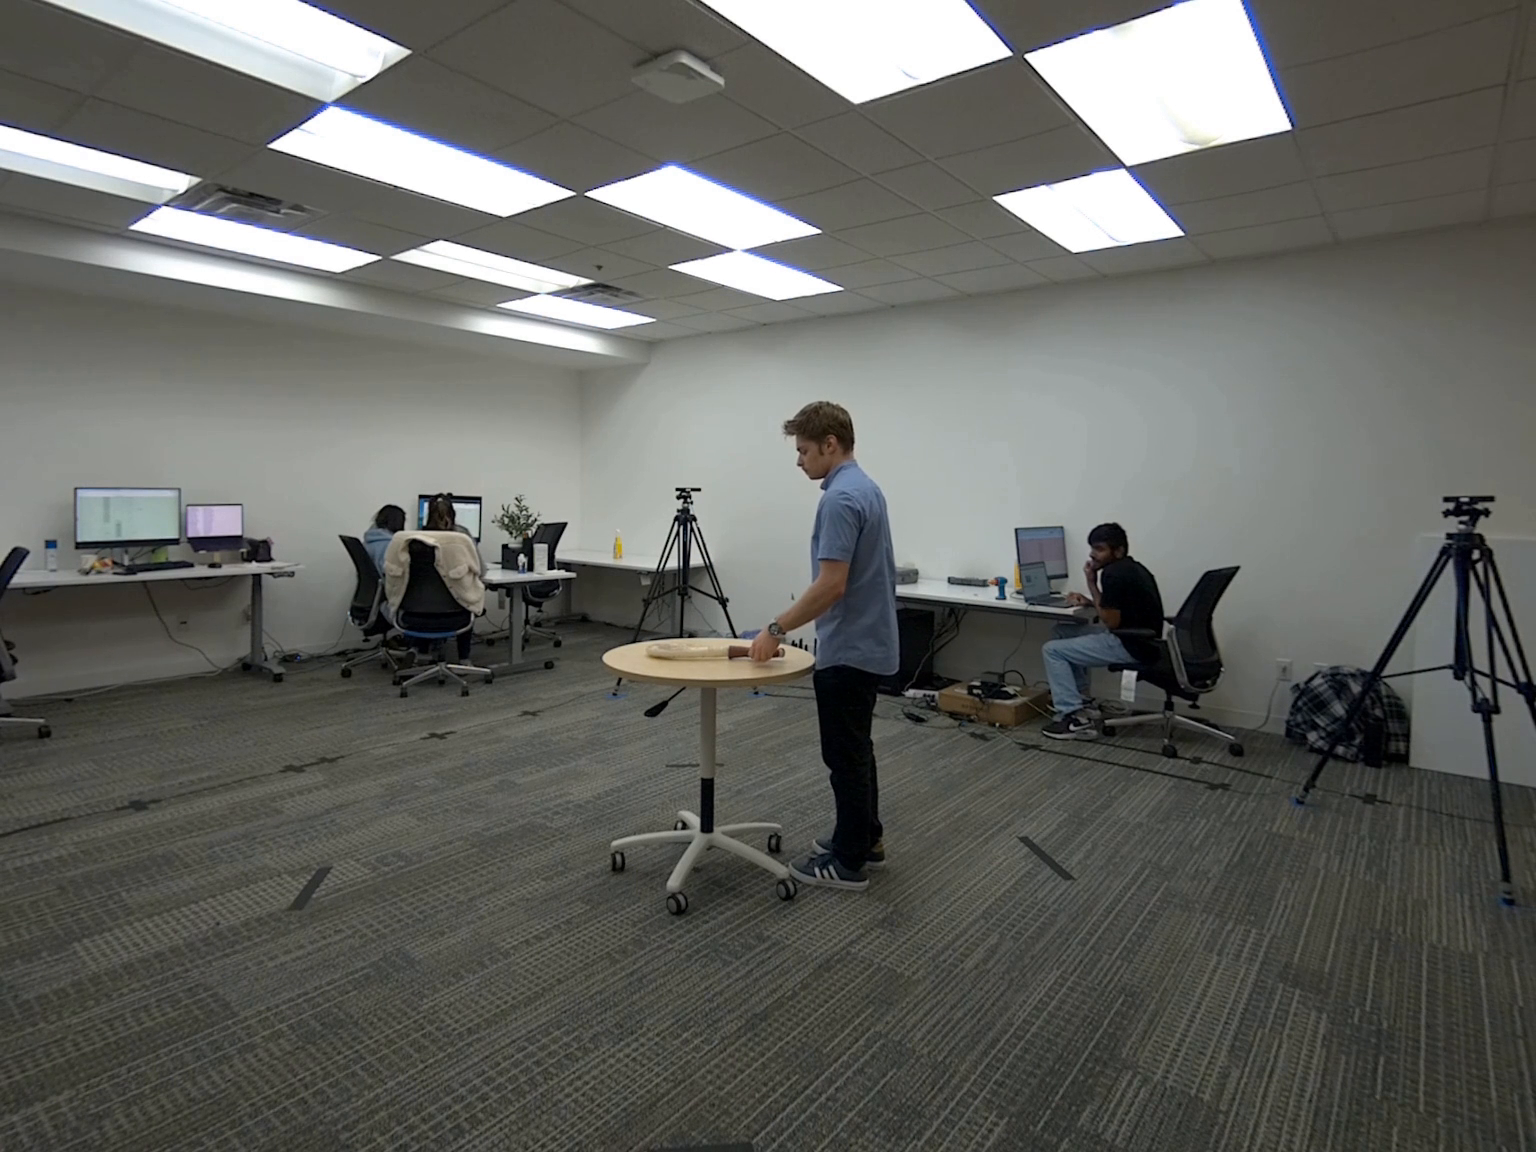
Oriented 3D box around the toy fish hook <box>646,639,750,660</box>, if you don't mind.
[{"bbox_3d":[-0.198,0.262,3.088,0.510,0.048,0.225,1,9,6],"label":"toy fish hook"}]
